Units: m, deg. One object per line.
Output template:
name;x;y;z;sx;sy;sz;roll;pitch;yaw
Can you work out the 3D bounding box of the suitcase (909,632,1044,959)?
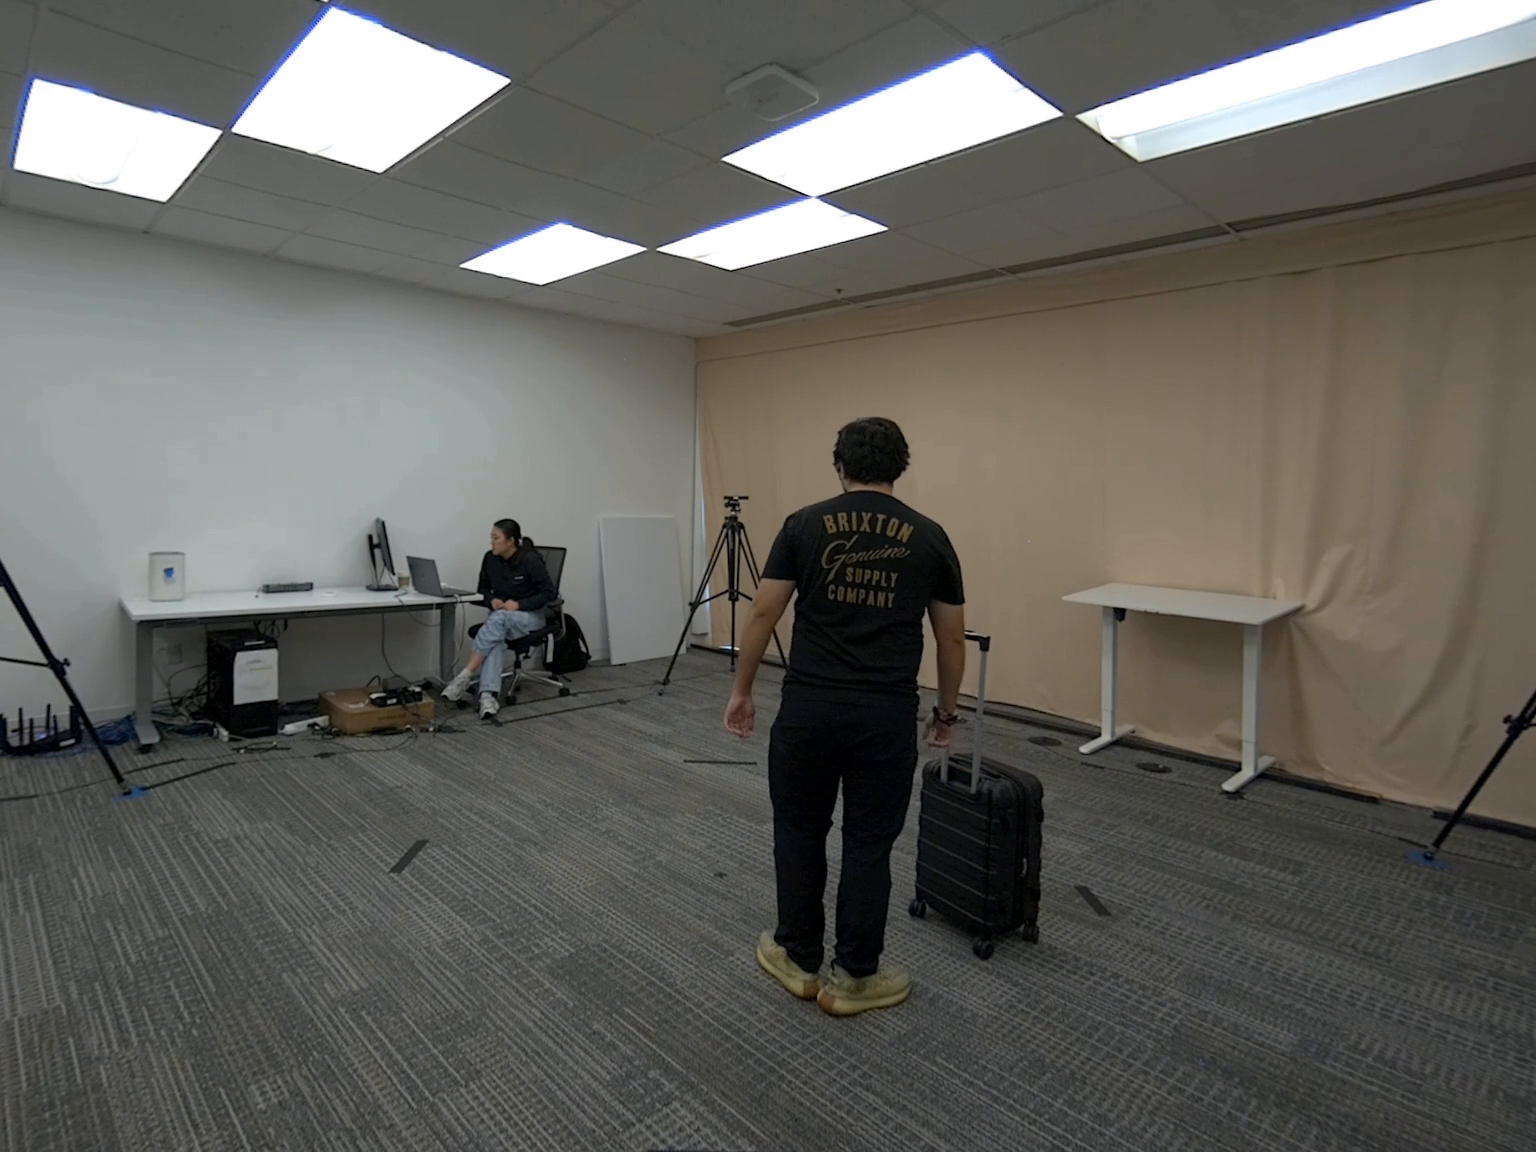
suitcase;0.704;0.680;2.759;0.251;0.977;0.393;3;2;-30
